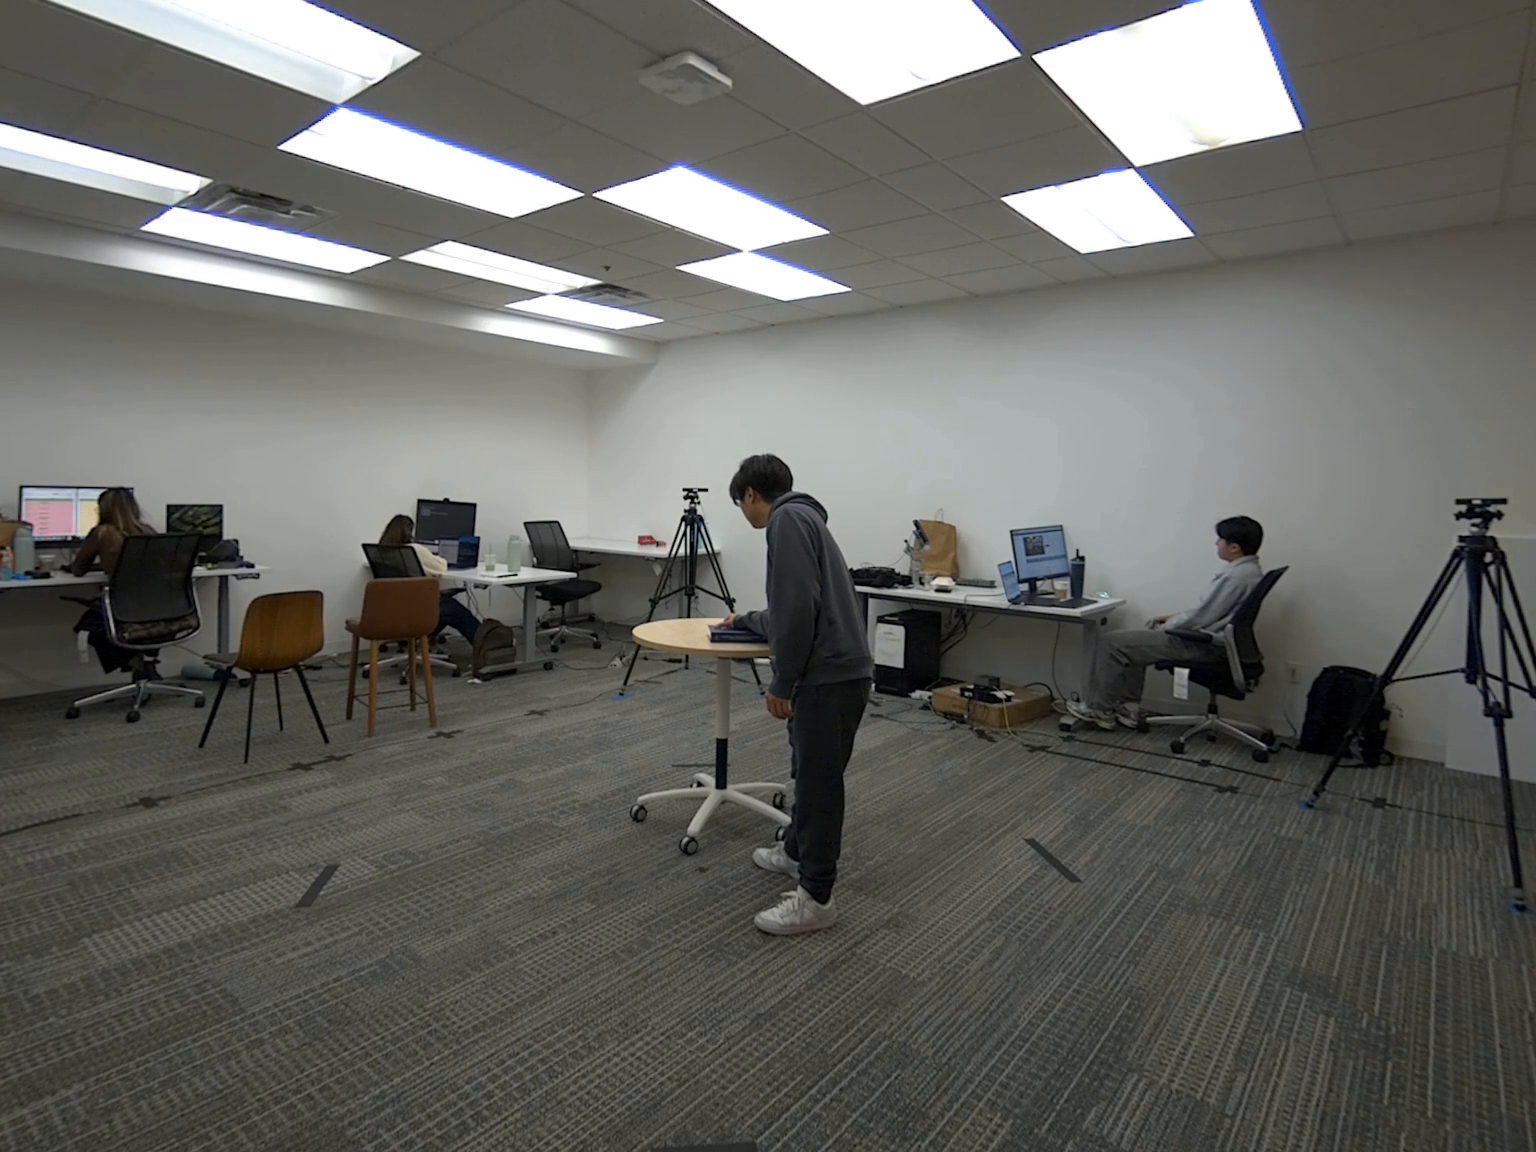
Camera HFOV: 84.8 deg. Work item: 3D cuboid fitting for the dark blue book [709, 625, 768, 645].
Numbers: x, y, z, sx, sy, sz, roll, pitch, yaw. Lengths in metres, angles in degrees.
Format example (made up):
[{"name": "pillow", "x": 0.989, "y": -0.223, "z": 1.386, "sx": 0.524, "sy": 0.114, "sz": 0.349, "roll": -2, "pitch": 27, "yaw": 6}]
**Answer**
[{"name": "dark blue book", "x": -0.130, "y": 0.226, "z": 3.385, "sx": 0.243, "sy": 0.045, "sz": 0.166, "roll": 2, "pitch": 8, "yaw": -8}]
